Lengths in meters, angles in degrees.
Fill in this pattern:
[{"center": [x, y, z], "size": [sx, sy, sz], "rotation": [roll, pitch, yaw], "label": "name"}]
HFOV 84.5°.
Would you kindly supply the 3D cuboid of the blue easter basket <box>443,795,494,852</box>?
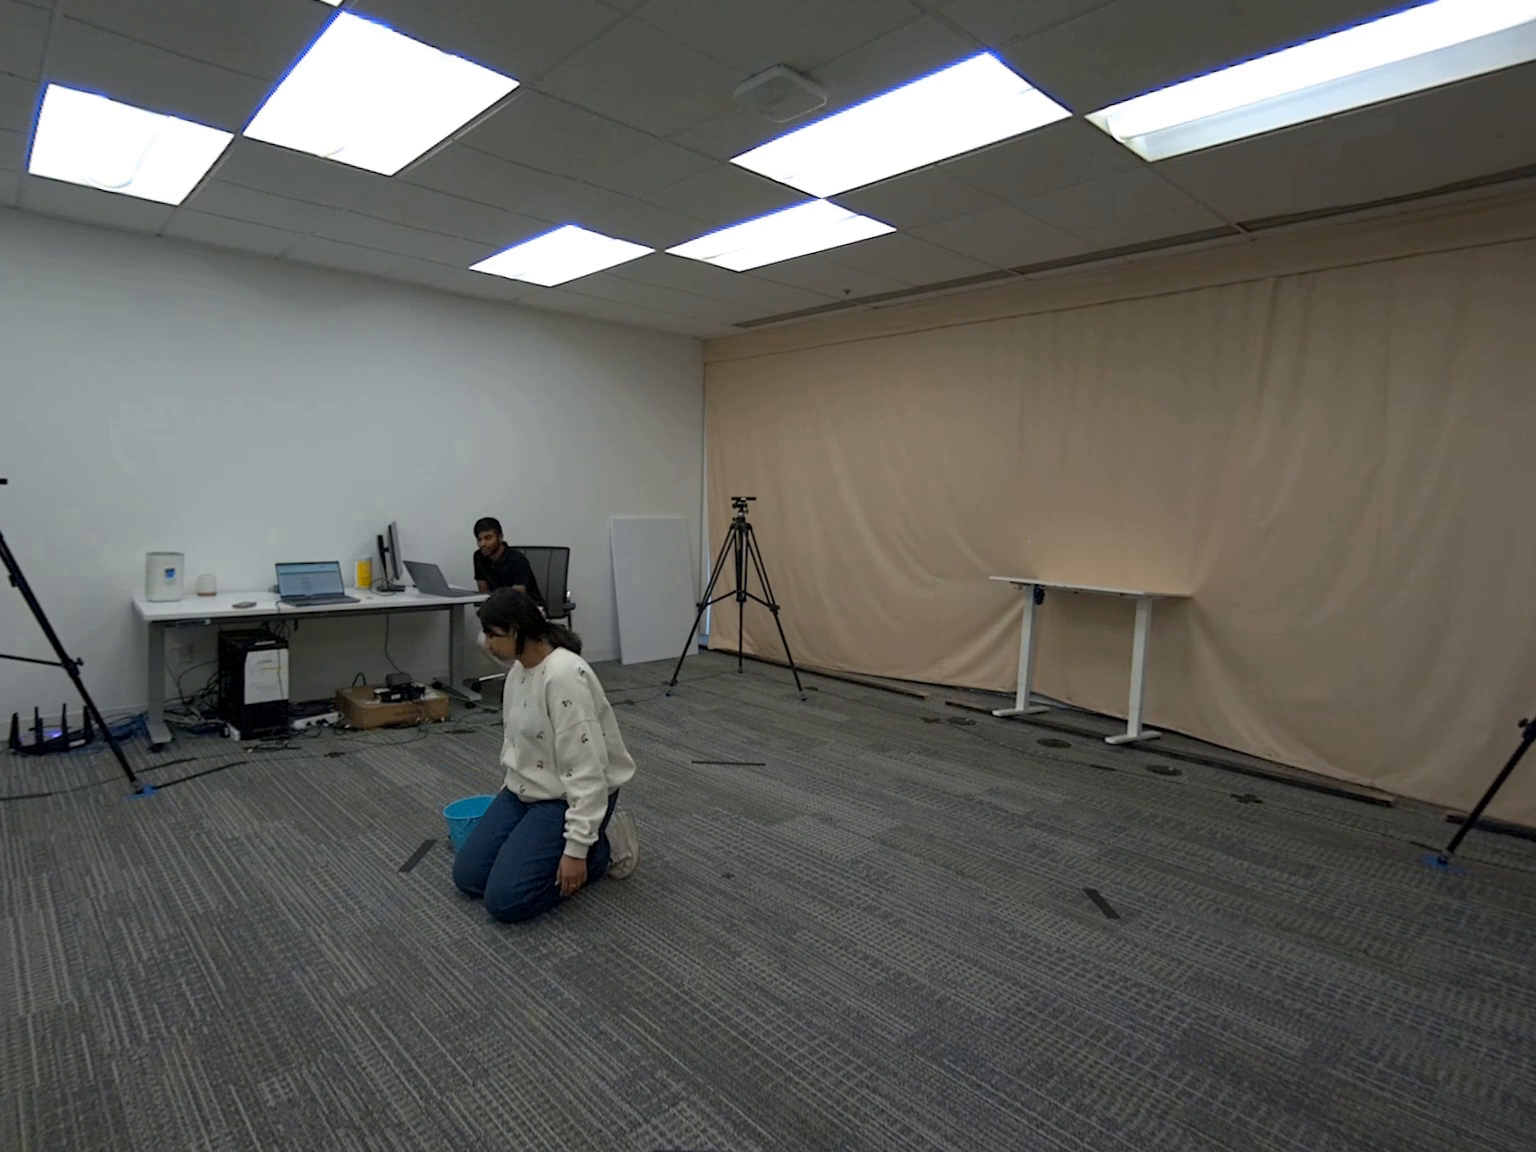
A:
[{"center": [-1.163, 0.980, 3.318], "size": [0.243, 0.155, 0.244], "rotation": [-4, 5, -1], "label": "blue easter basket"}]
